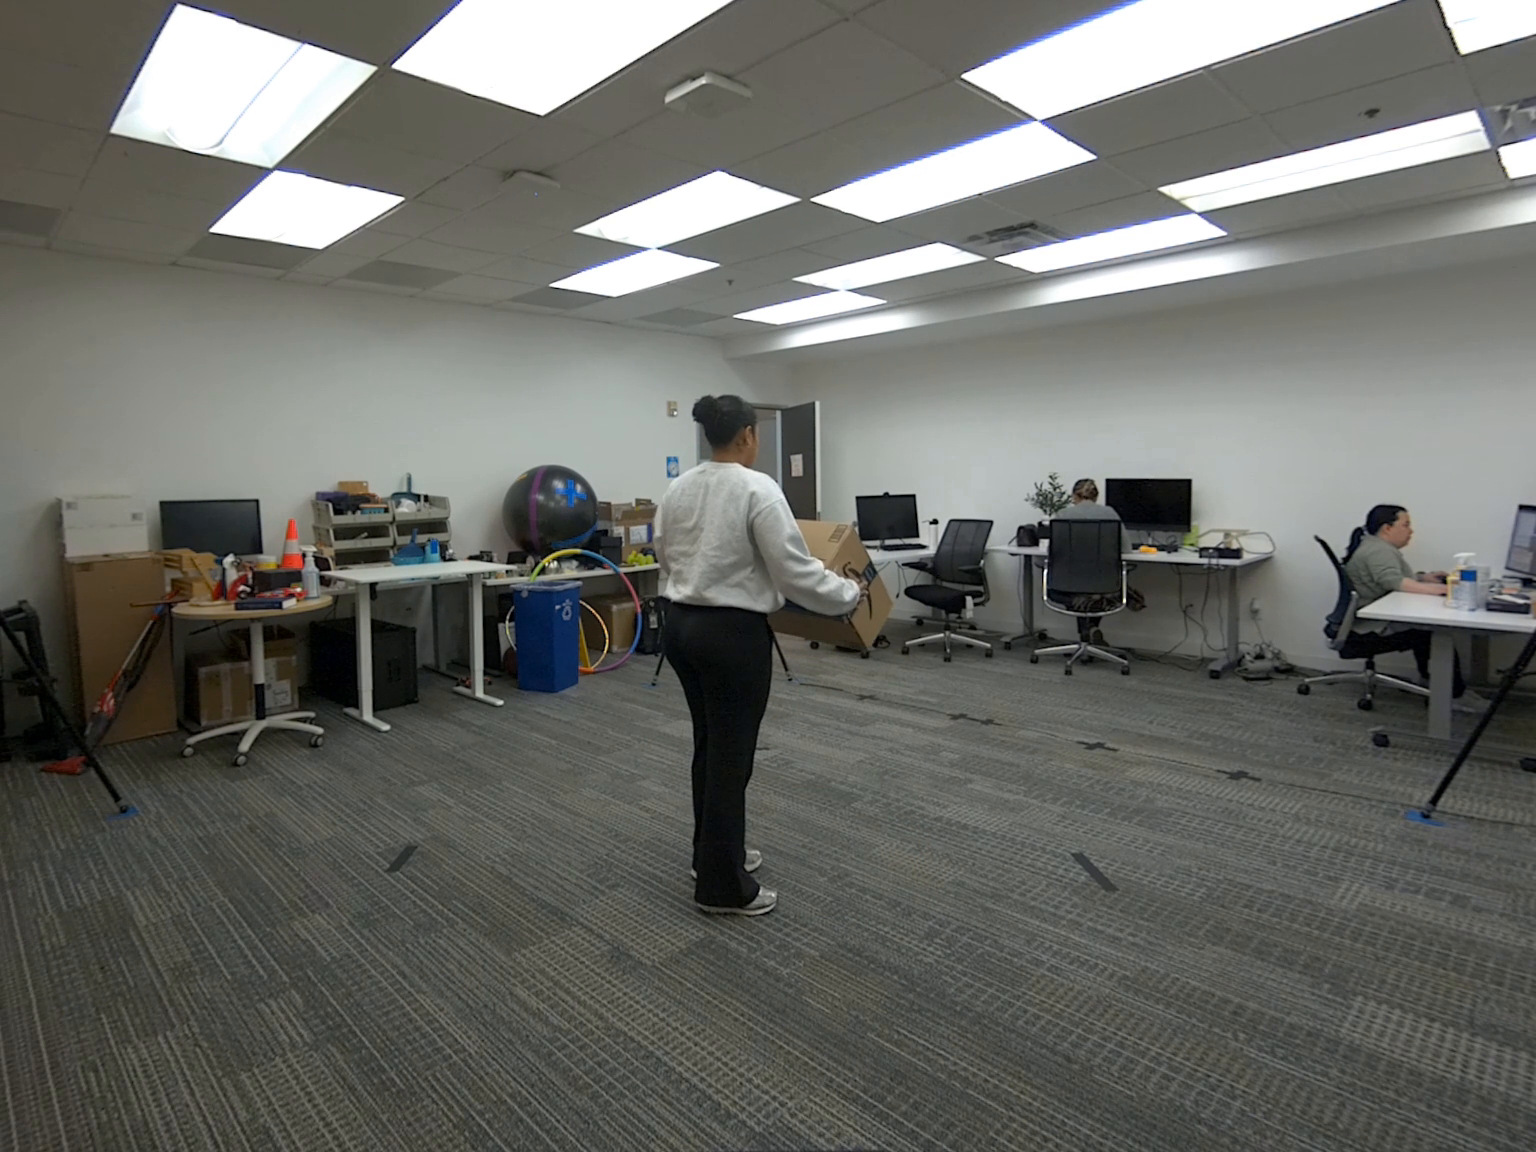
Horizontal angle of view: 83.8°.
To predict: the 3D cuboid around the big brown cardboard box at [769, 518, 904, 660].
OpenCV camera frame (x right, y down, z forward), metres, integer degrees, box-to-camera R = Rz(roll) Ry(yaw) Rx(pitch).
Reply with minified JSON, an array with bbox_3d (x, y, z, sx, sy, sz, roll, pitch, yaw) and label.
[{"bbox_3d":[0.104,0.019,3.051,0.608,0.402,0.234,10,54,43],"label":"big brown cardboard box"}]
